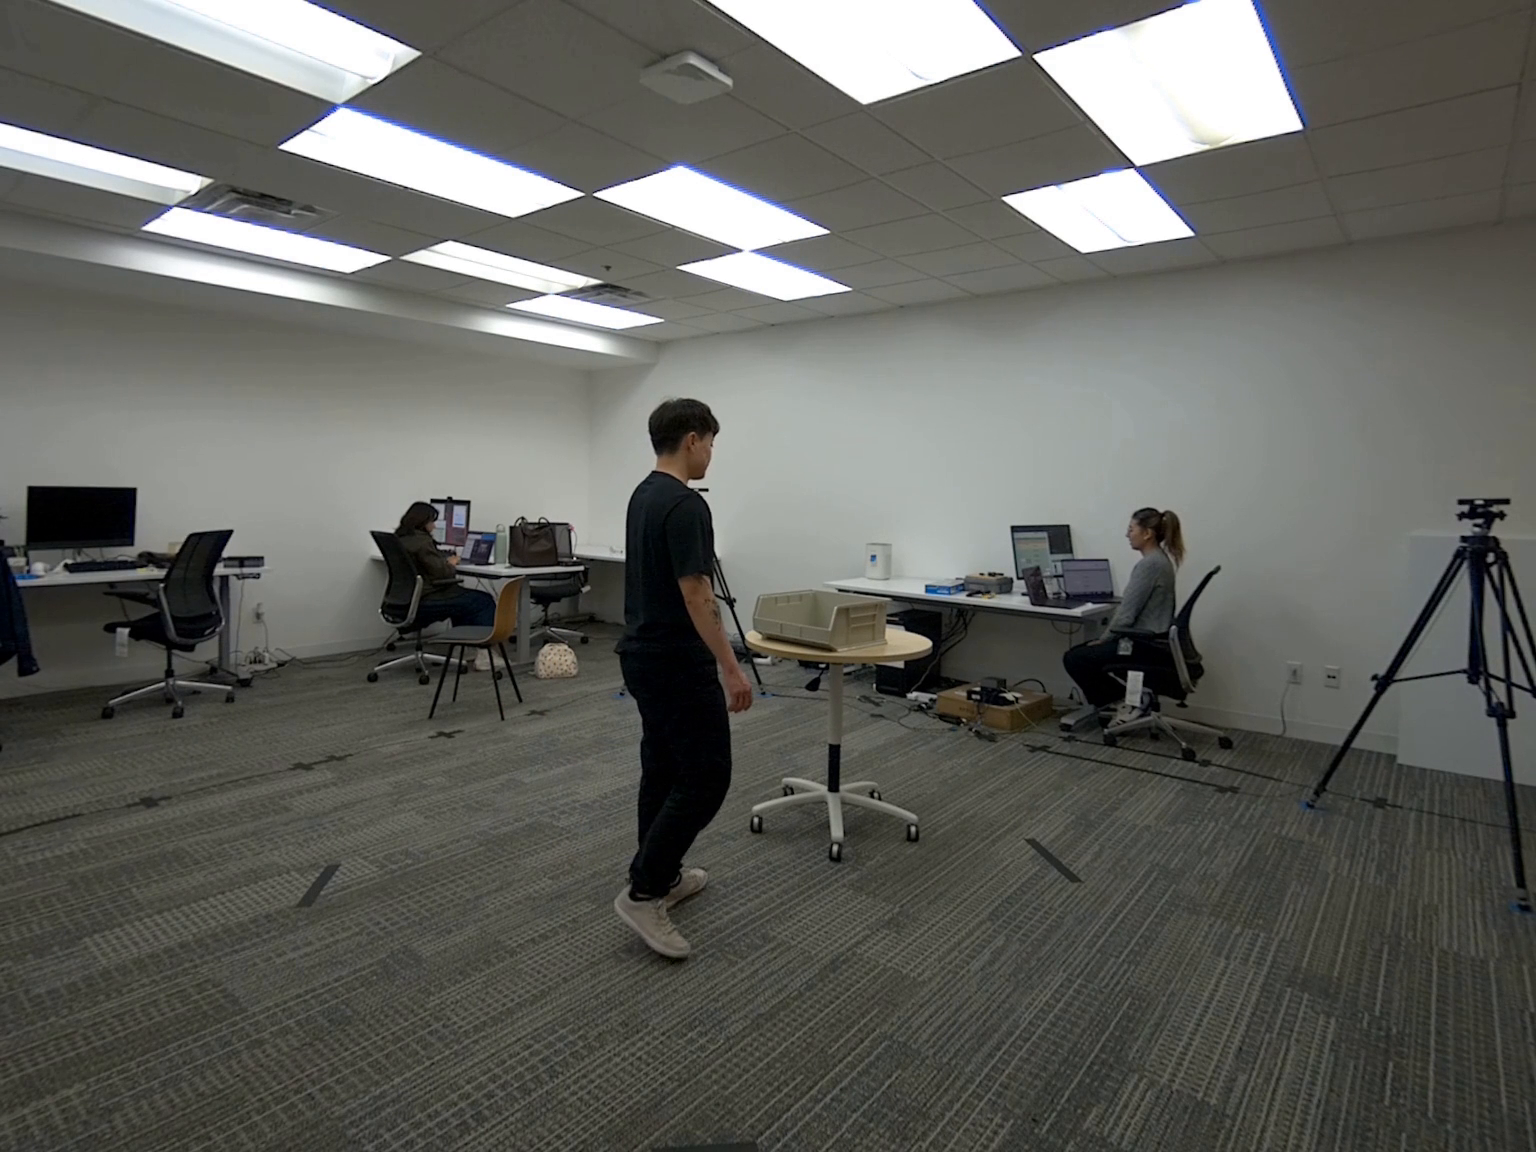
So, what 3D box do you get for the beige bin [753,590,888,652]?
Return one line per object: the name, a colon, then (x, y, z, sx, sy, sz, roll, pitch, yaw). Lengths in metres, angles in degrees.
beige bin: (0.208, 0.175, 3.445, 0.366, 0.188, 0.437, -3, 6, -44)
